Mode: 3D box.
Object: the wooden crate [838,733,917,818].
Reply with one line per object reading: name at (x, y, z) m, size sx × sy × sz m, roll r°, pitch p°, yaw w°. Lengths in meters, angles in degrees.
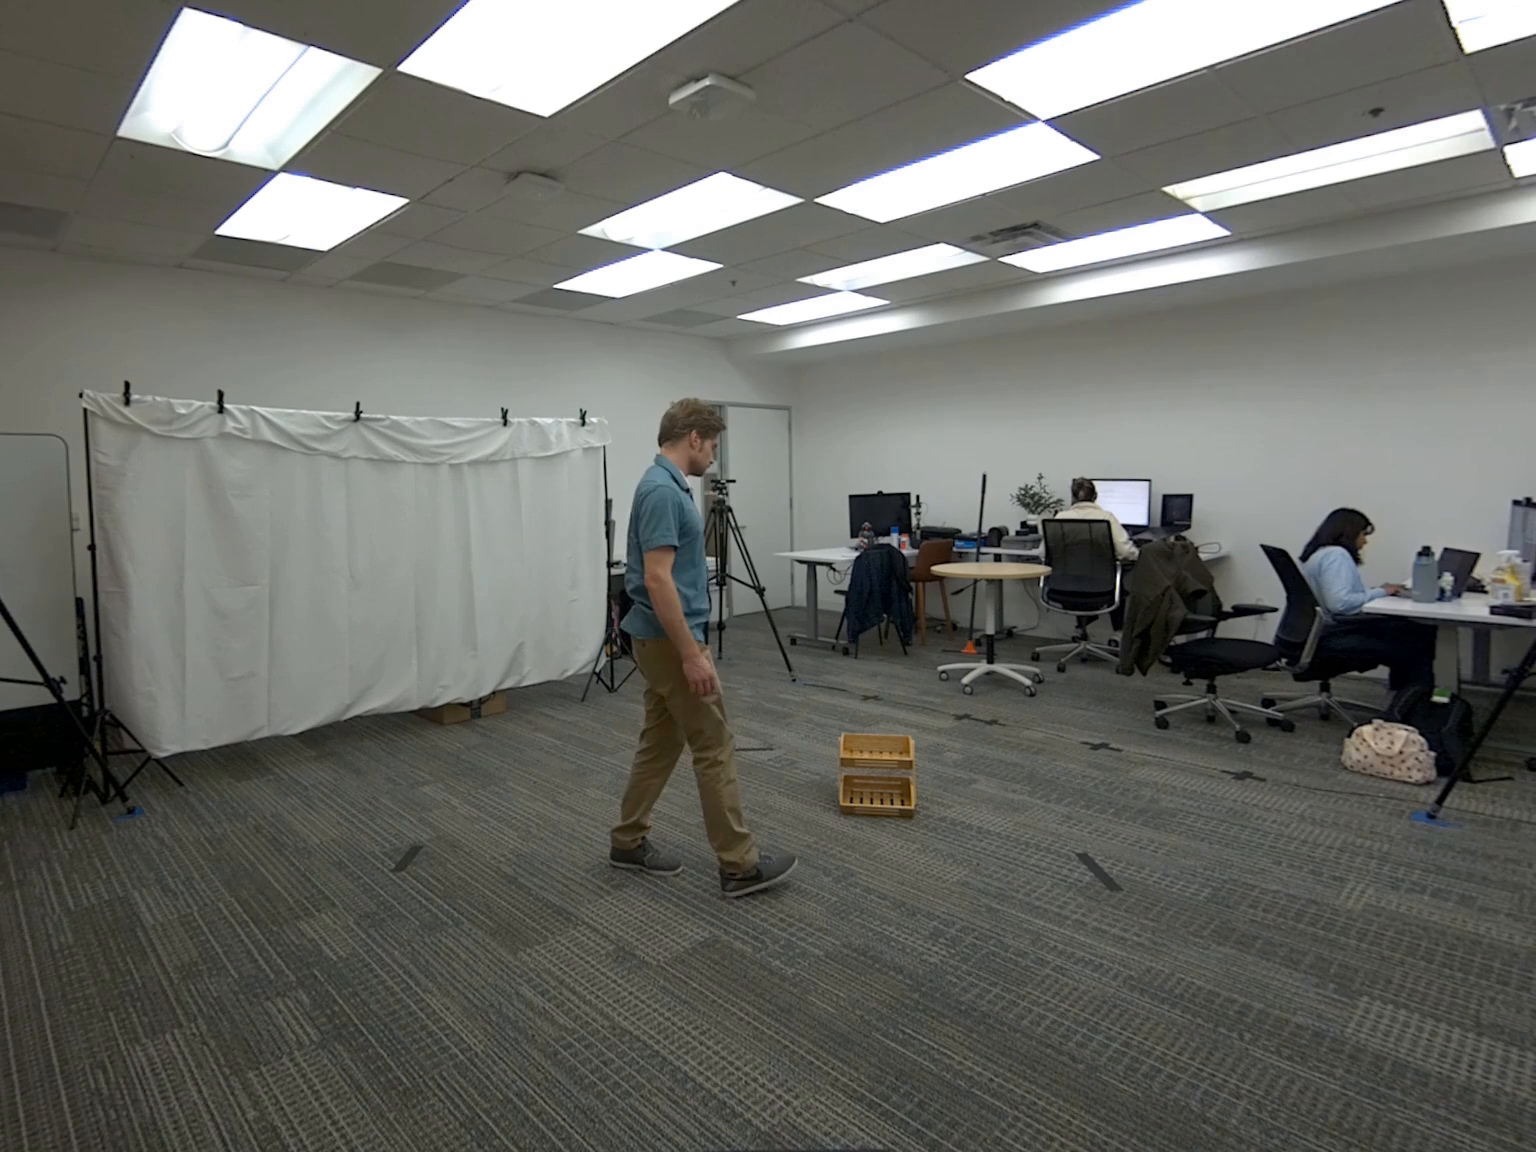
wooden crate at (0.467, 0.842, 3.648) m, size 0.327 × 0.272 × 0.300 m, roll 0°, pitch 5°, yaw 8°
